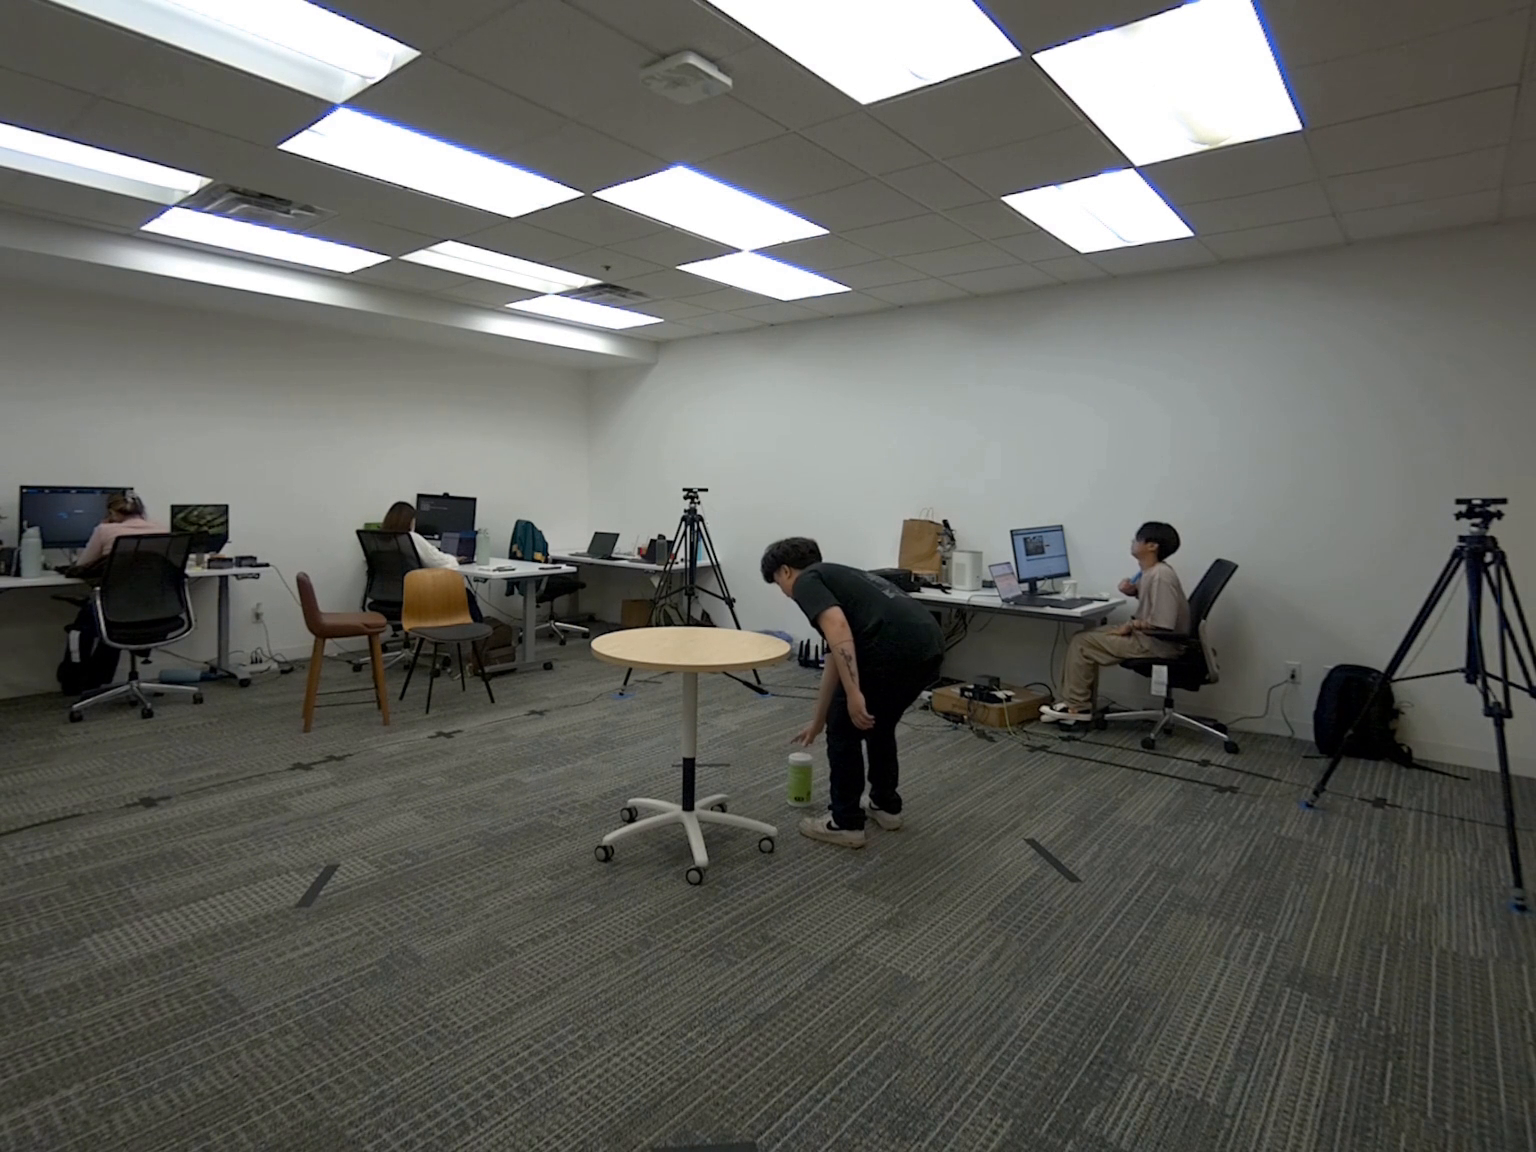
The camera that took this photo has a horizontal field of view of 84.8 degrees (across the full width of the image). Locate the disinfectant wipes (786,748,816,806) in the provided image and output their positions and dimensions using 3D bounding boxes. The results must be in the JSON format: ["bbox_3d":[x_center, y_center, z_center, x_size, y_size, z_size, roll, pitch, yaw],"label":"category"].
[{"bbox_3d":[0.144,0.901,3.783,0.118,0.217,0.118,0,4,-2],"label":"disinfectant wipes"}]
